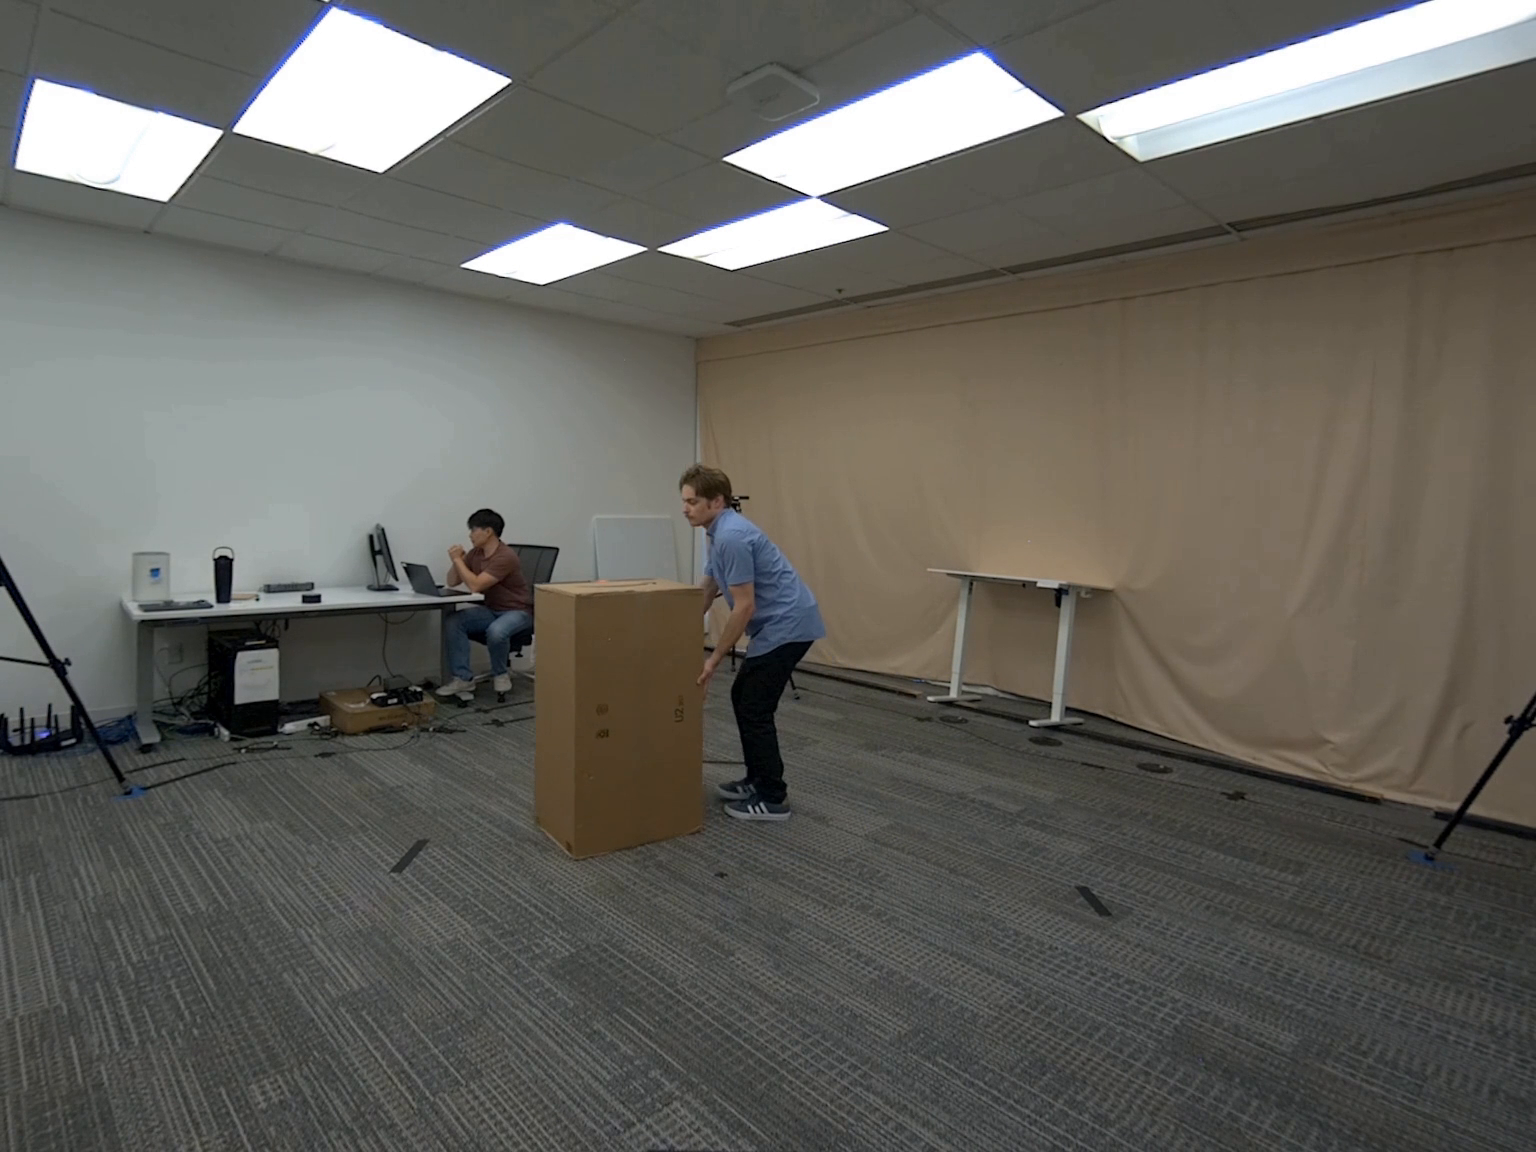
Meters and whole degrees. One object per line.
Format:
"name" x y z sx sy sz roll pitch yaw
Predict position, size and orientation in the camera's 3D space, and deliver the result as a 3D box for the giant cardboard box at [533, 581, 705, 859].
"giant cardboard box" -0.630 0.551 3.493 0.565 1.023 0.436 -1 4 -34
